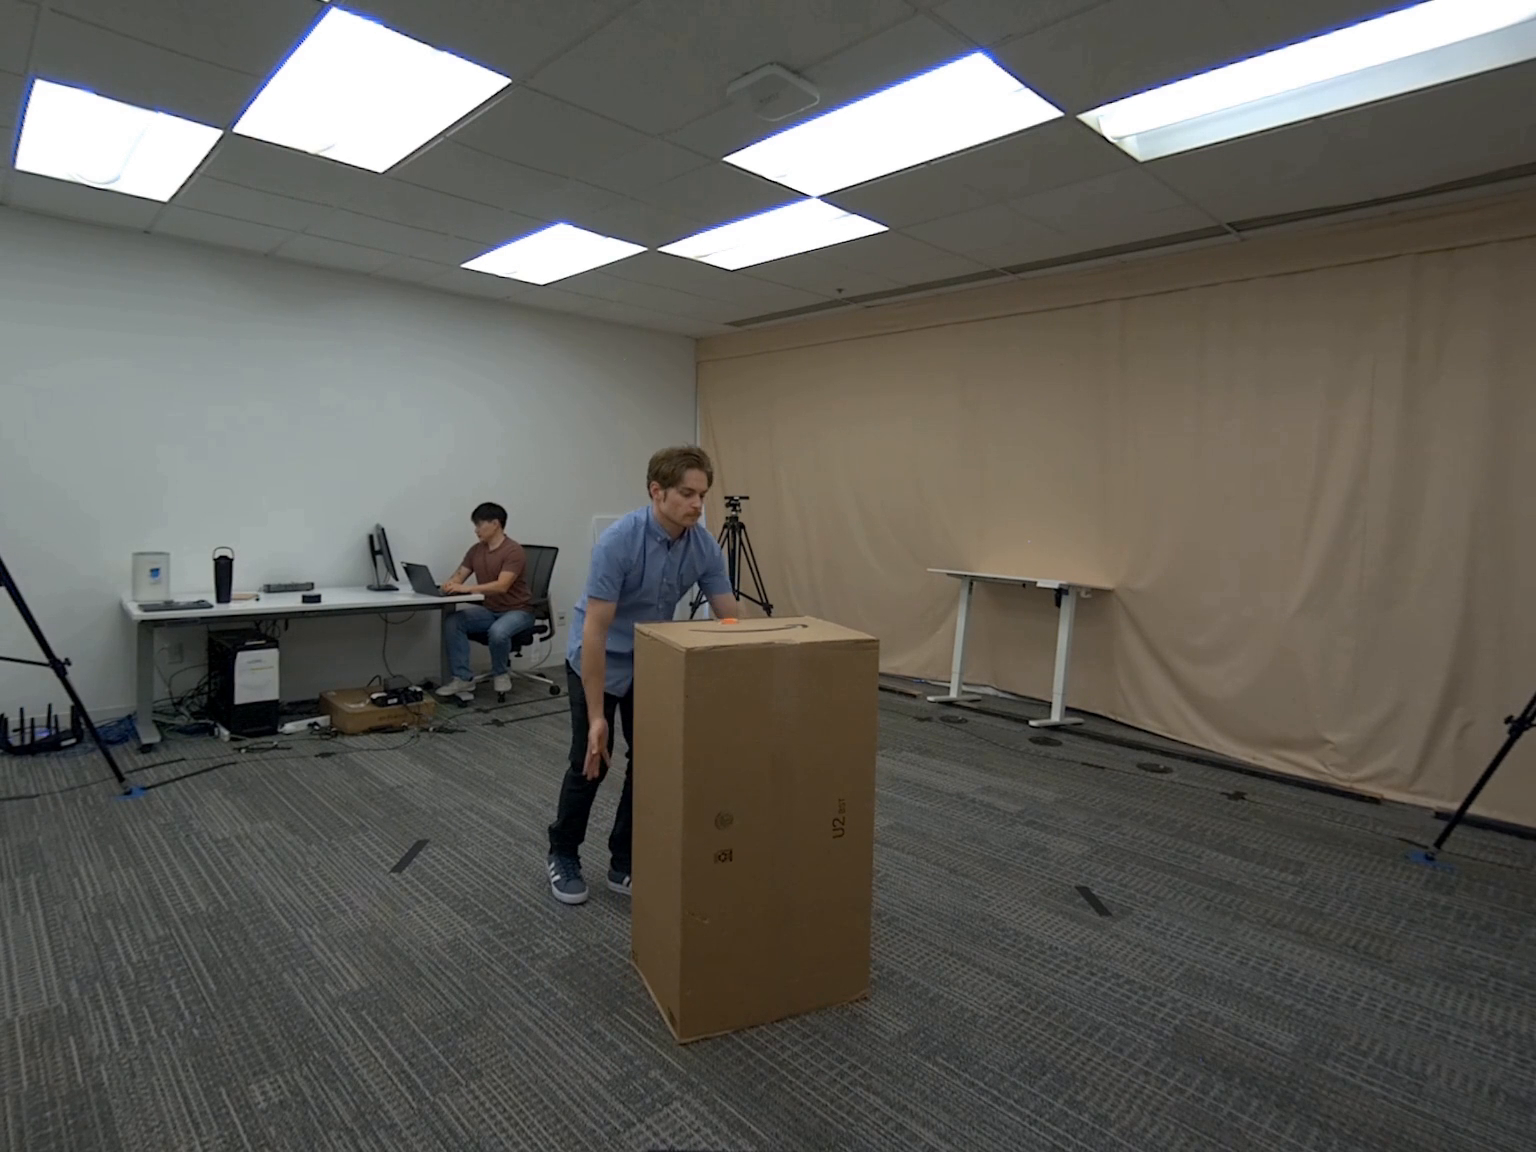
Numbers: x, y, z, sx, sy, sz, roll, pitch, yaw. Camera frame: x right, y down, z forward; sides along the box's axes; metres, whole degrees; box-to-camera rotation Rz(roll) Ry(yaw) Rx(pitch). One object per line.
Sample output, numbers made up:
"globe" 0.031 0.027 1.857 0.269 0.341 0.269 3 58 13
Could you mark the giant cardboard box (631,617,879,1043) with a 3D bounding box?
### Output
"giant cardboard box" -0.056 0.661 2.406 0.567 1.023 0.435 -1 4 -25
